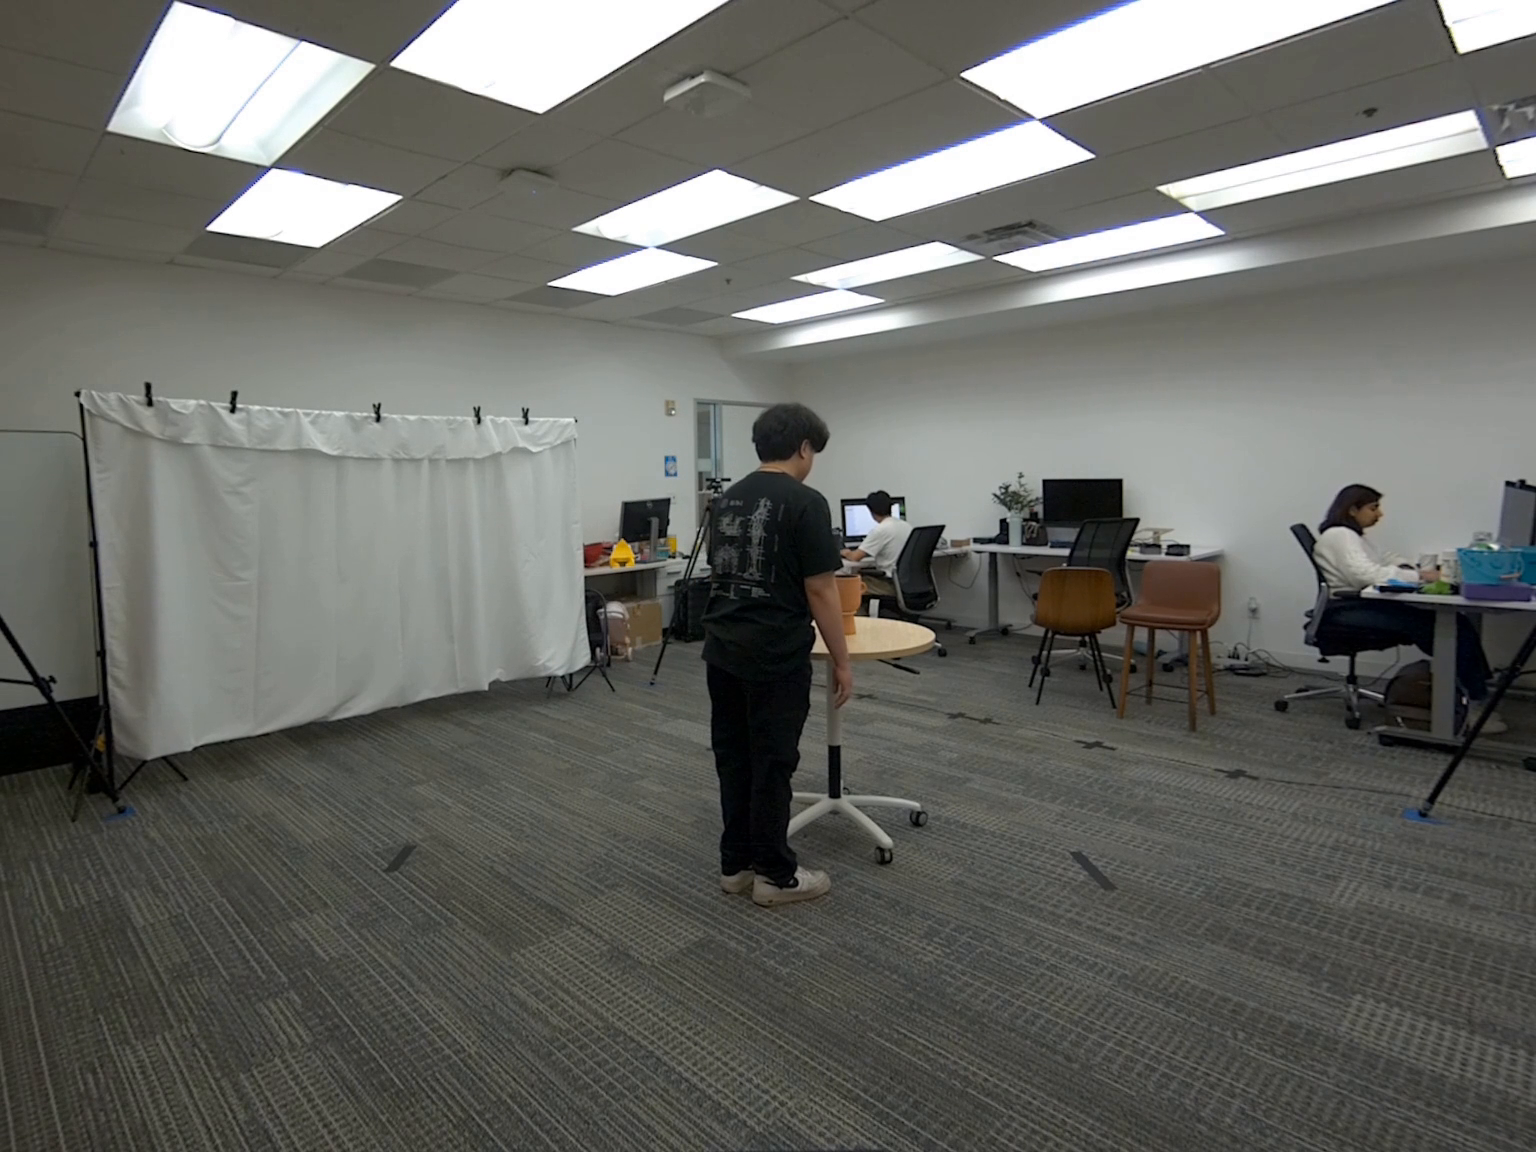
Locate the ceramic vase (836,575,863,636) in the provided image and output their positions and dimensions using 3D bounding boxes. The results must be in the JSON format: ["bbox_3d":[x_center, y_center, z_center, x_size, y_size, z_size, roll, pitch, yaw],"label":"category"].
[{"bbox_3d":[0.301,0.111,3.313,0.162,0.219,0.133,1,5,18],"label":"ceramic vase"}]
